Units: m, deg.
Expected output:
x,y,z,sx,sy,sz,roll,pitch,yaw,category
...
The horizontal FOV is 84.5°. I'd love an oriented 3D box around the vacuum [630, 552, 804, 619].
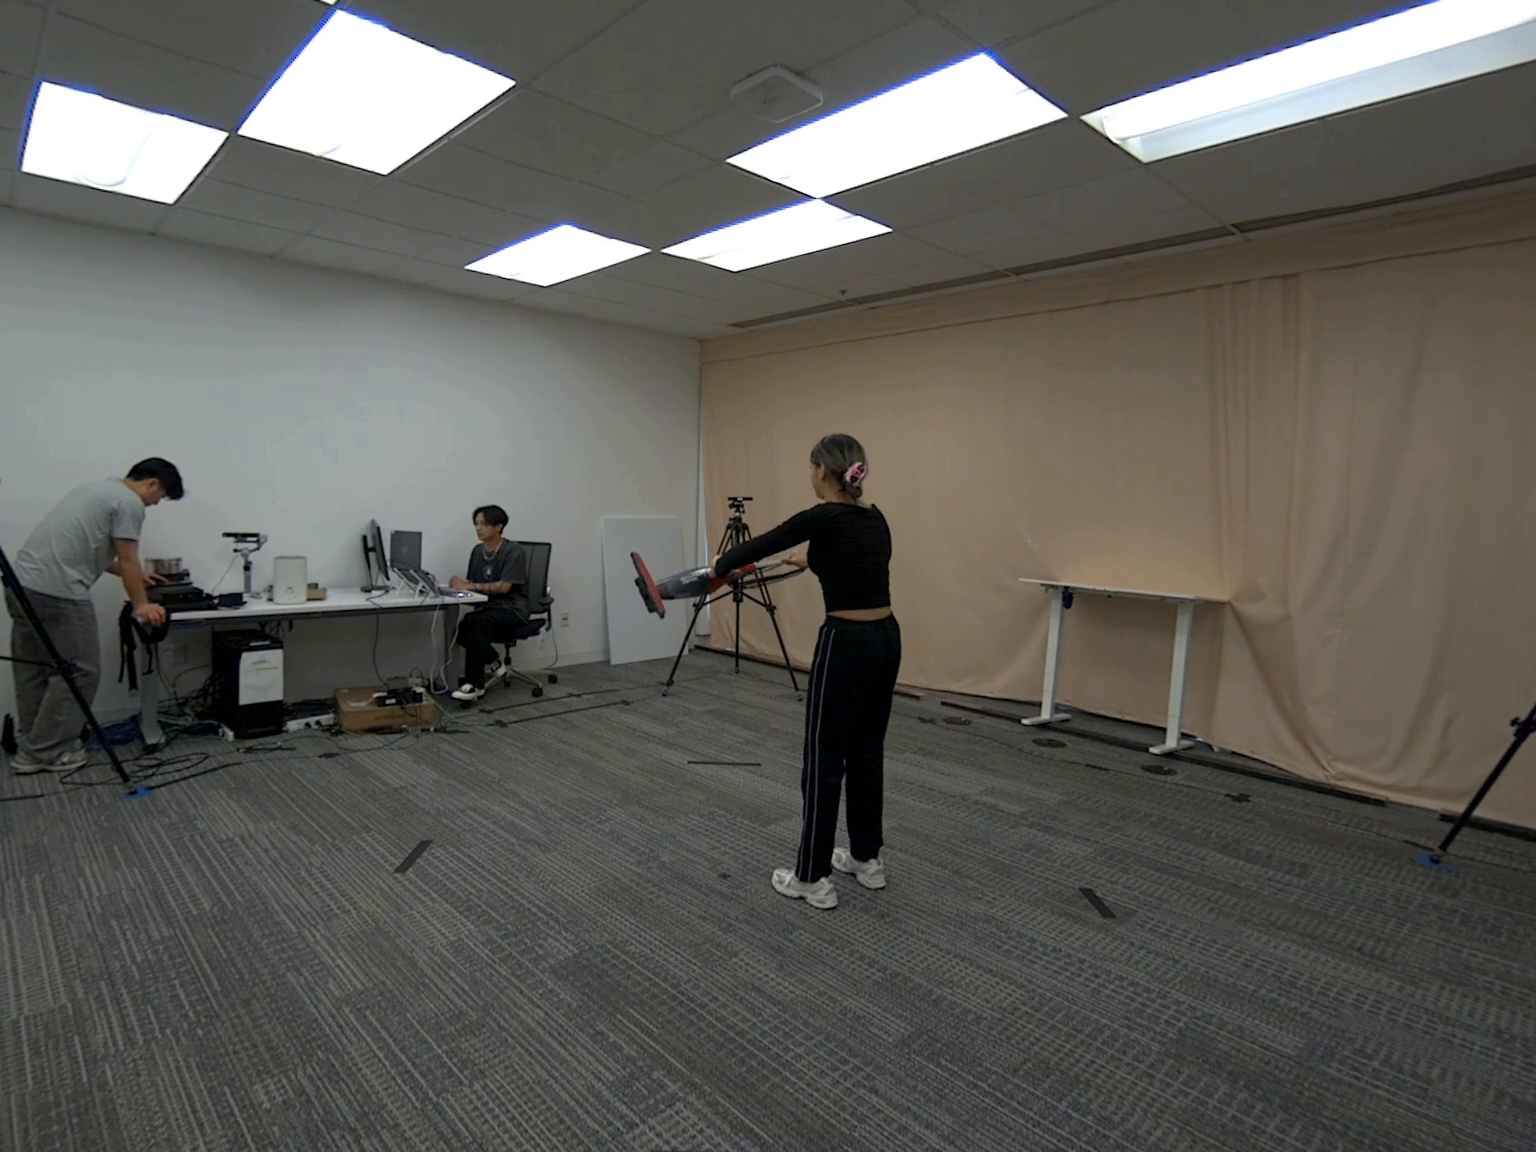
x,y,z,sx,sy,sz,roll,pitch,yaw,category
-0.079,-0.010,3.299,1.027,0.258,0.144,-8,-28,-45,vacuum
